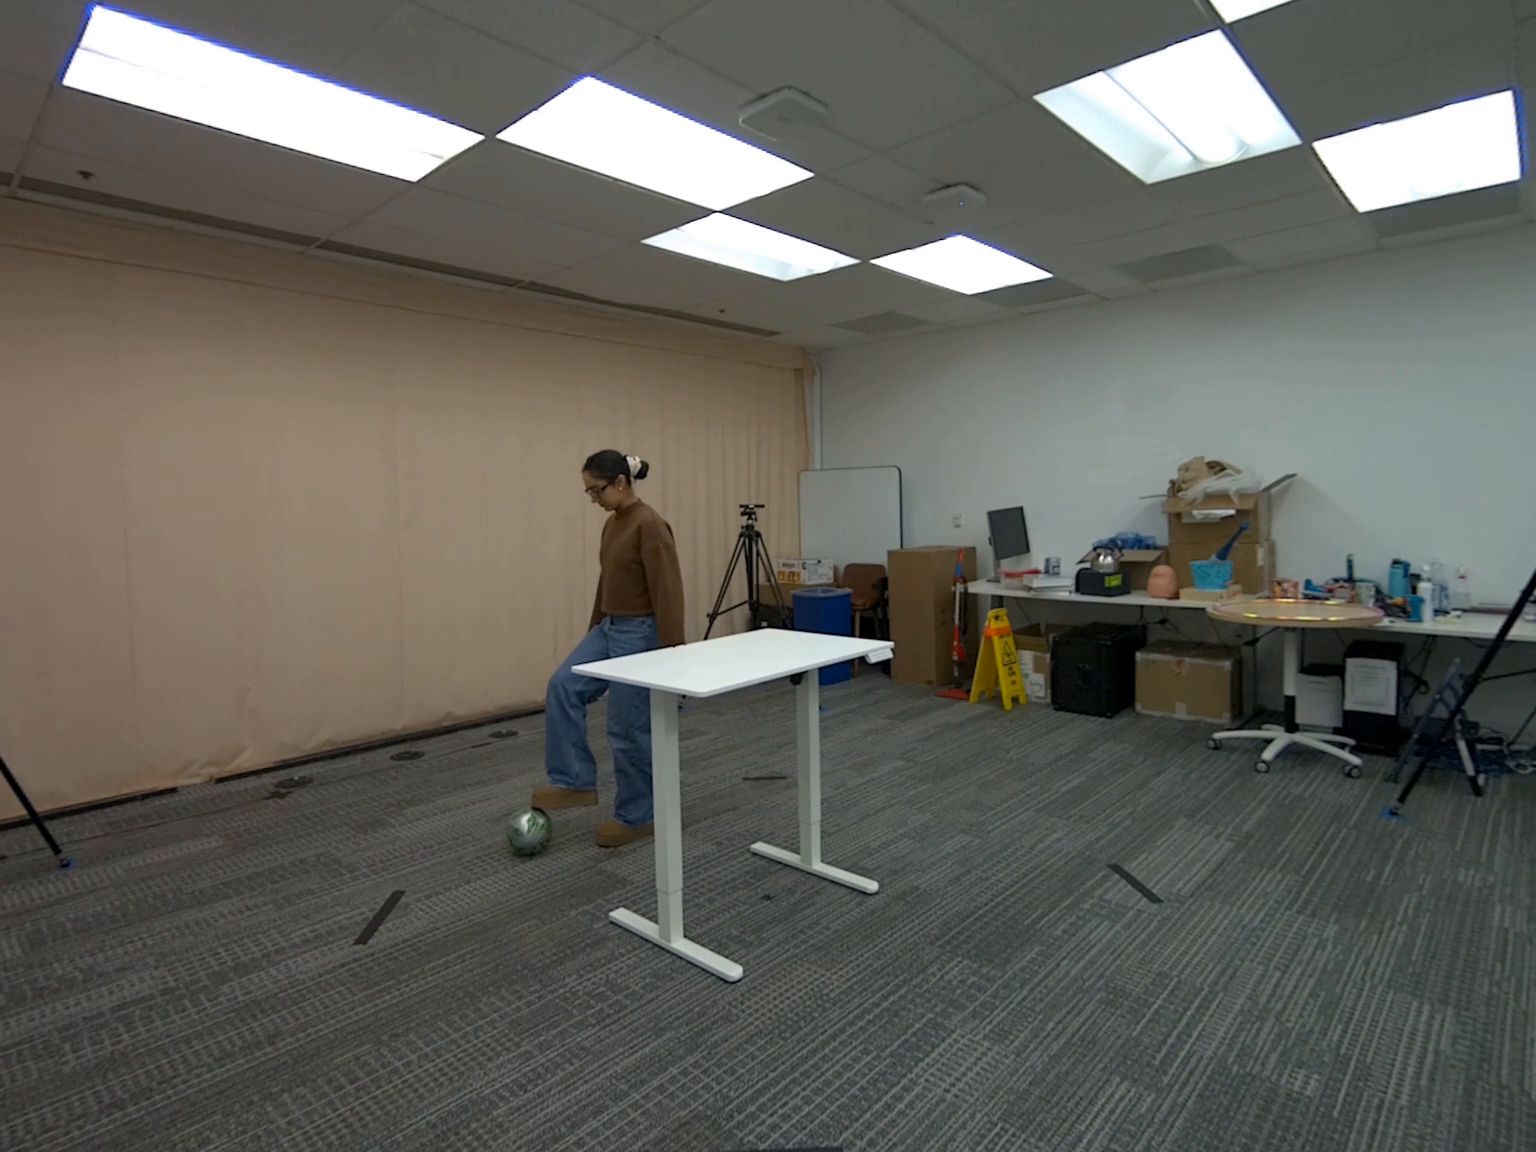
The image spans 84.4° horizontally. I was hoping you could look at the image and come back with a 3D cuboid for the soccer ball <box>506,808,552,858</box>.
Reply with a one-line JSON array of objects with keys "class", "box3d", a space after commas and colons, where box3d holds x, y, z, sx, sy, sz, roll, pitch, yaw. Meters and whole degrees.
[{"class": "soccer ball", "box3d": [-0.973, 1.036, 3.416, 0.187, 0.187, 0.188, -1, 4, -2]}]
